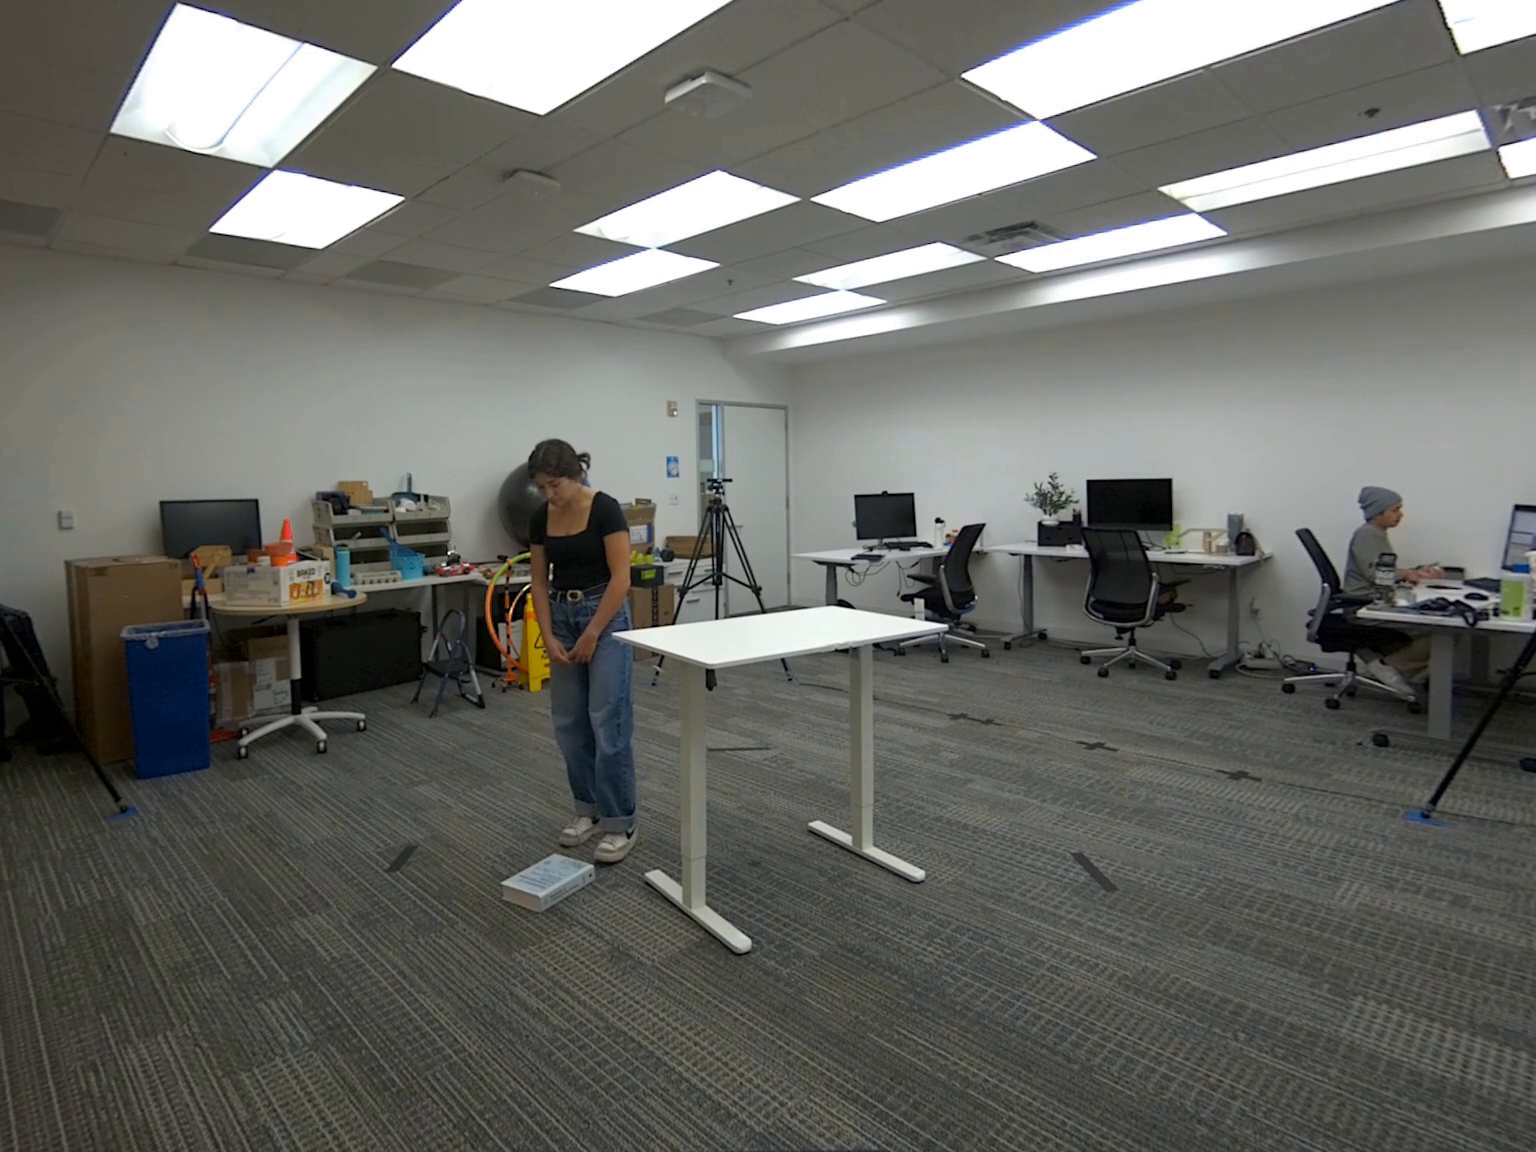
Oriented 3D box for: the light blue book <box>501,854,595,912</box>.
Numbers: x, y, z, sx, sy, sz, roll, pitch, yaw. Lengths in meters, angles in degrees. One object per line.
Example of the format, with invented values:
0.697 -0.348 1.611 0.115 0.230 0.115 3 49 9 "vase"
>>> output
-0.757 1.053 2.928 0.196 0.059 0.255 2 7 30 "light blue book"
